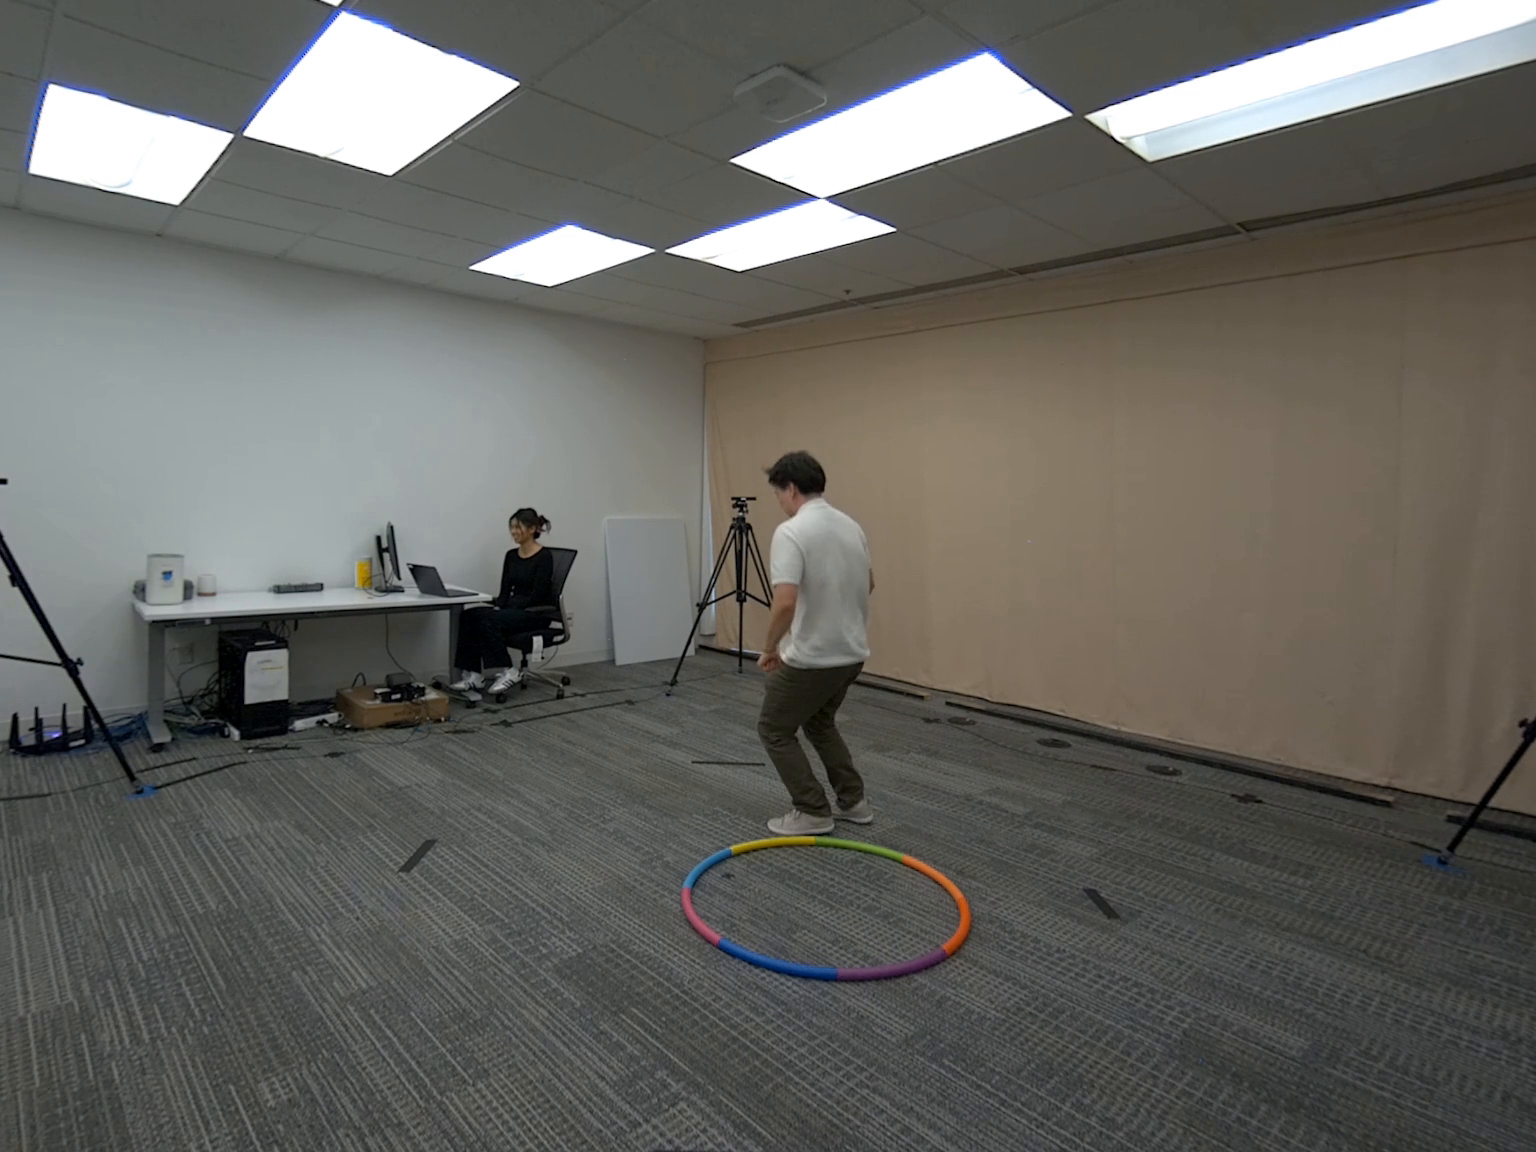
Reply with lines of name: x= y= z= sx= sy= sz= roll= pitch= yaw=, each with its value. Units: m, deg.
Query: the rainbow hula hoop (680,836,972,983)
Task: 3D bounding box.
rainbow hula hoop: x=0.185 y=1.101 z=2.924 sx=0.978 sy=0.035 sz=0.982 roll=1 pitch=5 yaw=-1
